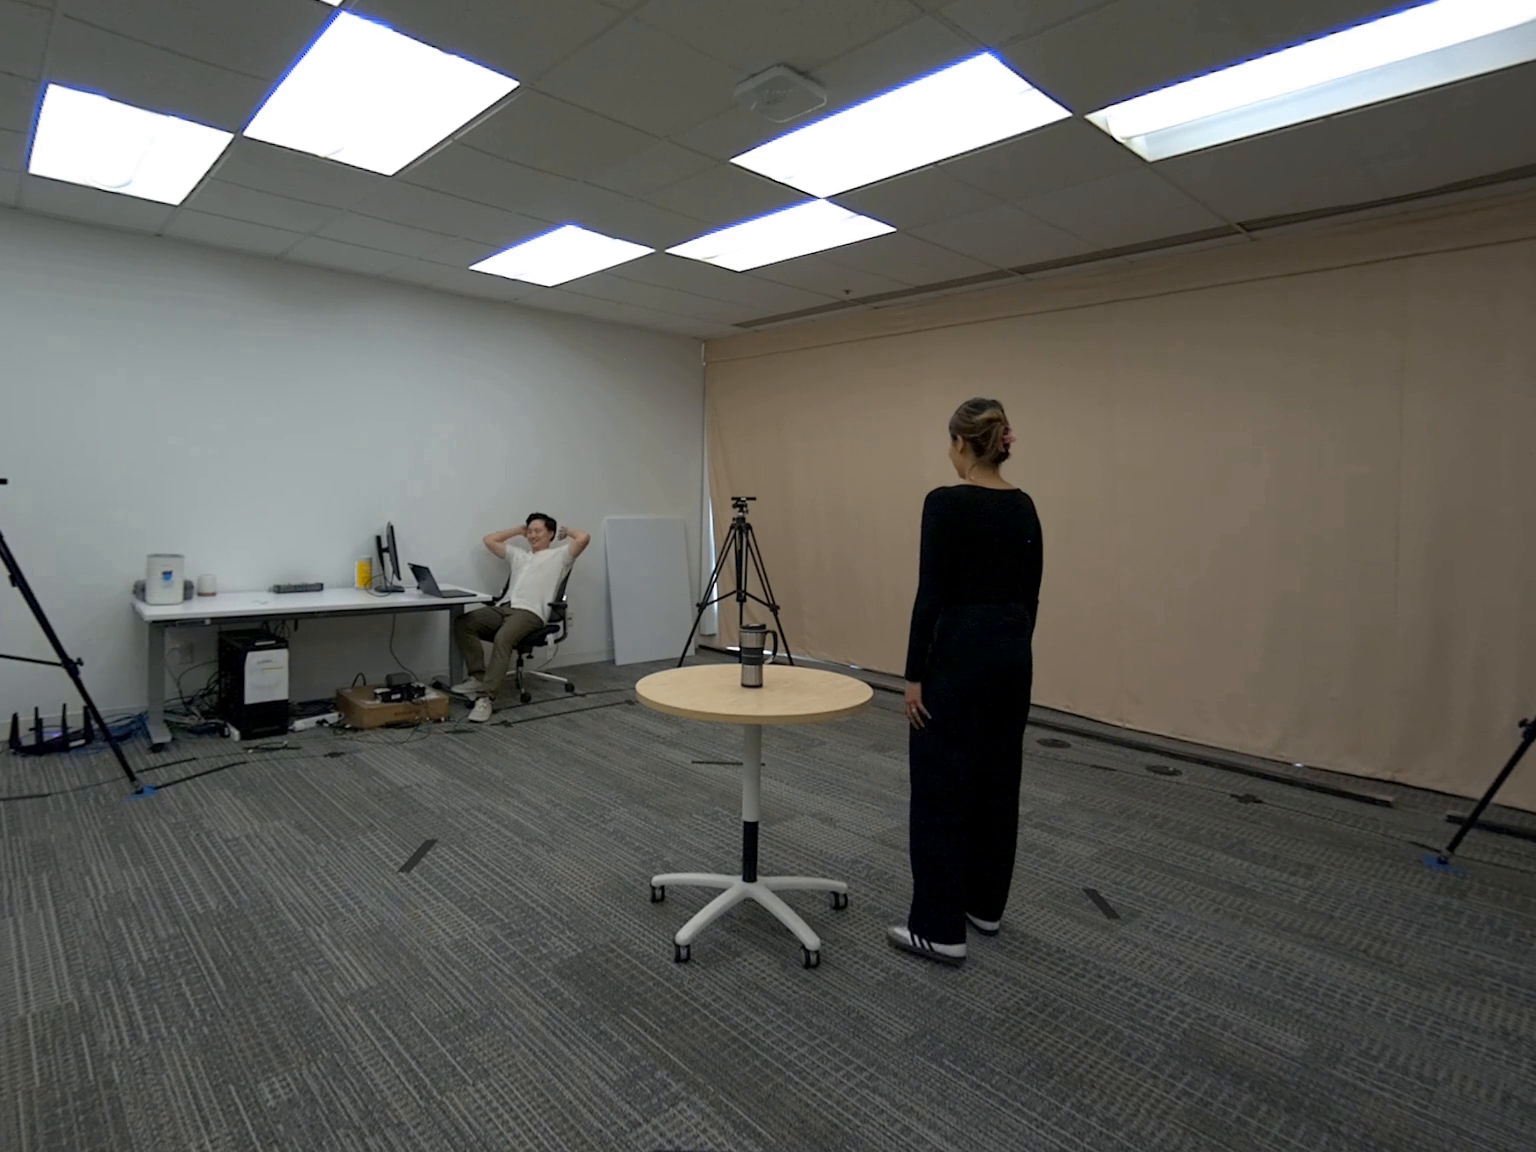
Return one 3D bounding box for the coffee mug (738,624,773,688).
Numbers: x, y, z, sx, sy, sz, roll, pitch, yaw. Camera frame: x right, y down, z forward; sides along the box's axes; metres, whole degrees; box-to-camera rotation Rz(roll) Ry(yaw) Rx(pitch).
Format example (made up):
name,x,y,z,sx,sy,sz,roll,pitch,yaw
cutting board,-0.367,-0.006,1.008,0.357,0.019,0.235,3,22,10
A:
name,x,y,z,sx,sy,sz,roll,pitch,yaw
coffee mug,-0.036,0.261,2.722,0.125,0.203,0.086,-2,-5,38
